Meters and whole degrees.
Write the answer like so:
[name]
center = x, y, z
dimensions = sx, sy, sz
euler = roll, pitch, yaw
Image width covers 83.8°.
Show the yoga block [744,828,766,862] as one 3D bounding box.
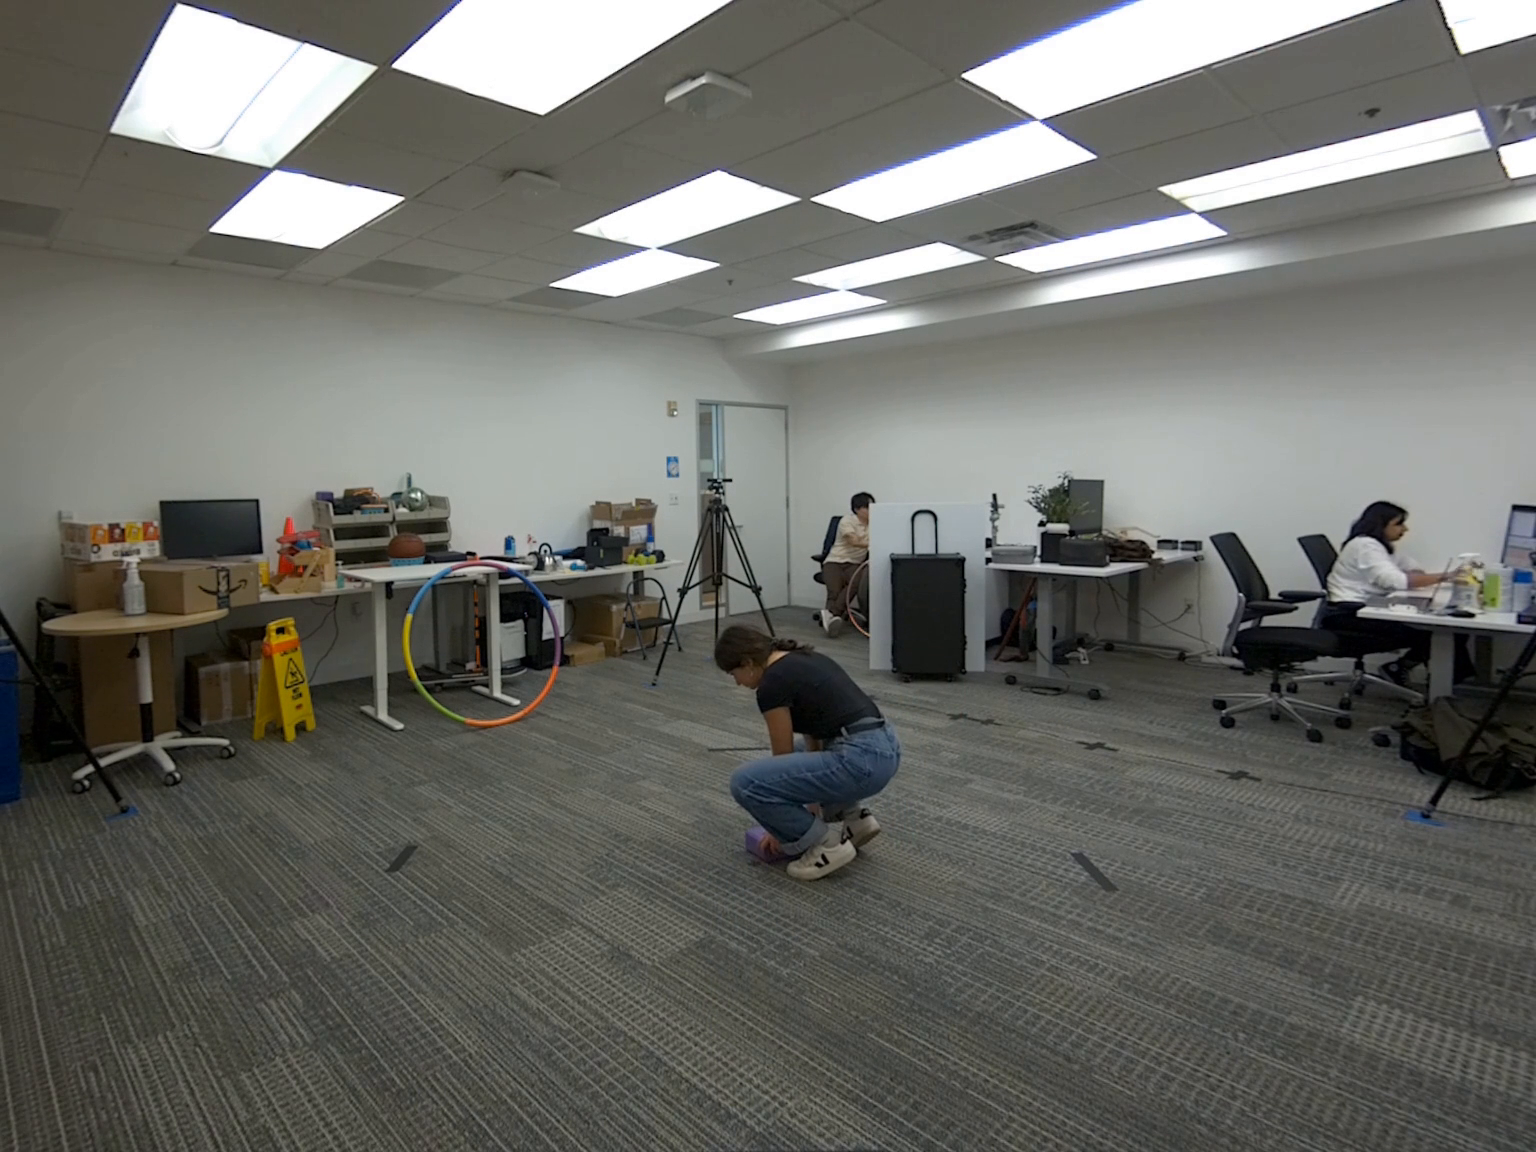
[yoga block]
center = 0.045, 0.996, 3.229
dimensions = 0.224, 0.076, 0.153
euler = -2, 5, -31
